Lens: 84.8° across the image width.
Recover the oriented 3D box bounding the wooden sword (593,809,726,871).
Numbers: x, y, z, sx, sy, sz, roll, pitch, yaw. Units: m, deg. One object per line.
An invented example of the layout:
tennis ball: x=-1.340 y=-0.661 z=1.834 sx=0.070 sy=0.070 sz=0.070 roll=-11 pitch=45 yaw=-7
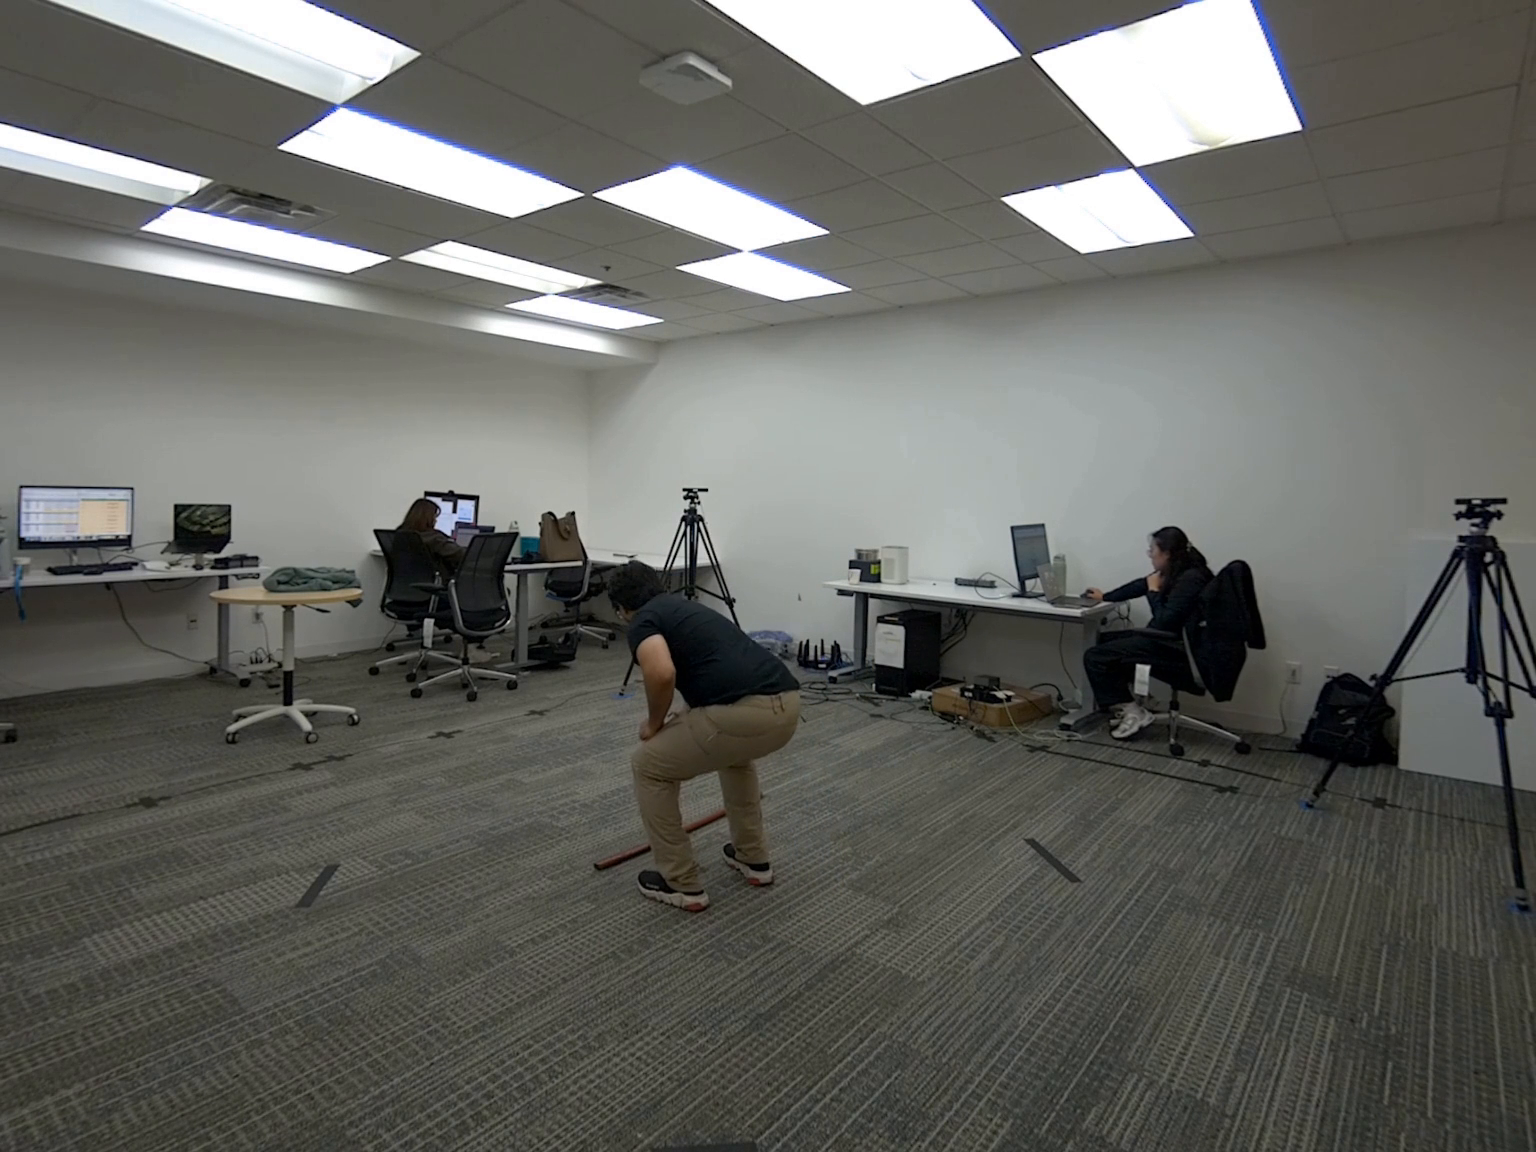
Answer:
wooden sword: x=-0.322 y=1.010 z=3.461 sx=0.053 sy=0.024 sz=0.995 roll=-2 pitch=2 yaw=37
